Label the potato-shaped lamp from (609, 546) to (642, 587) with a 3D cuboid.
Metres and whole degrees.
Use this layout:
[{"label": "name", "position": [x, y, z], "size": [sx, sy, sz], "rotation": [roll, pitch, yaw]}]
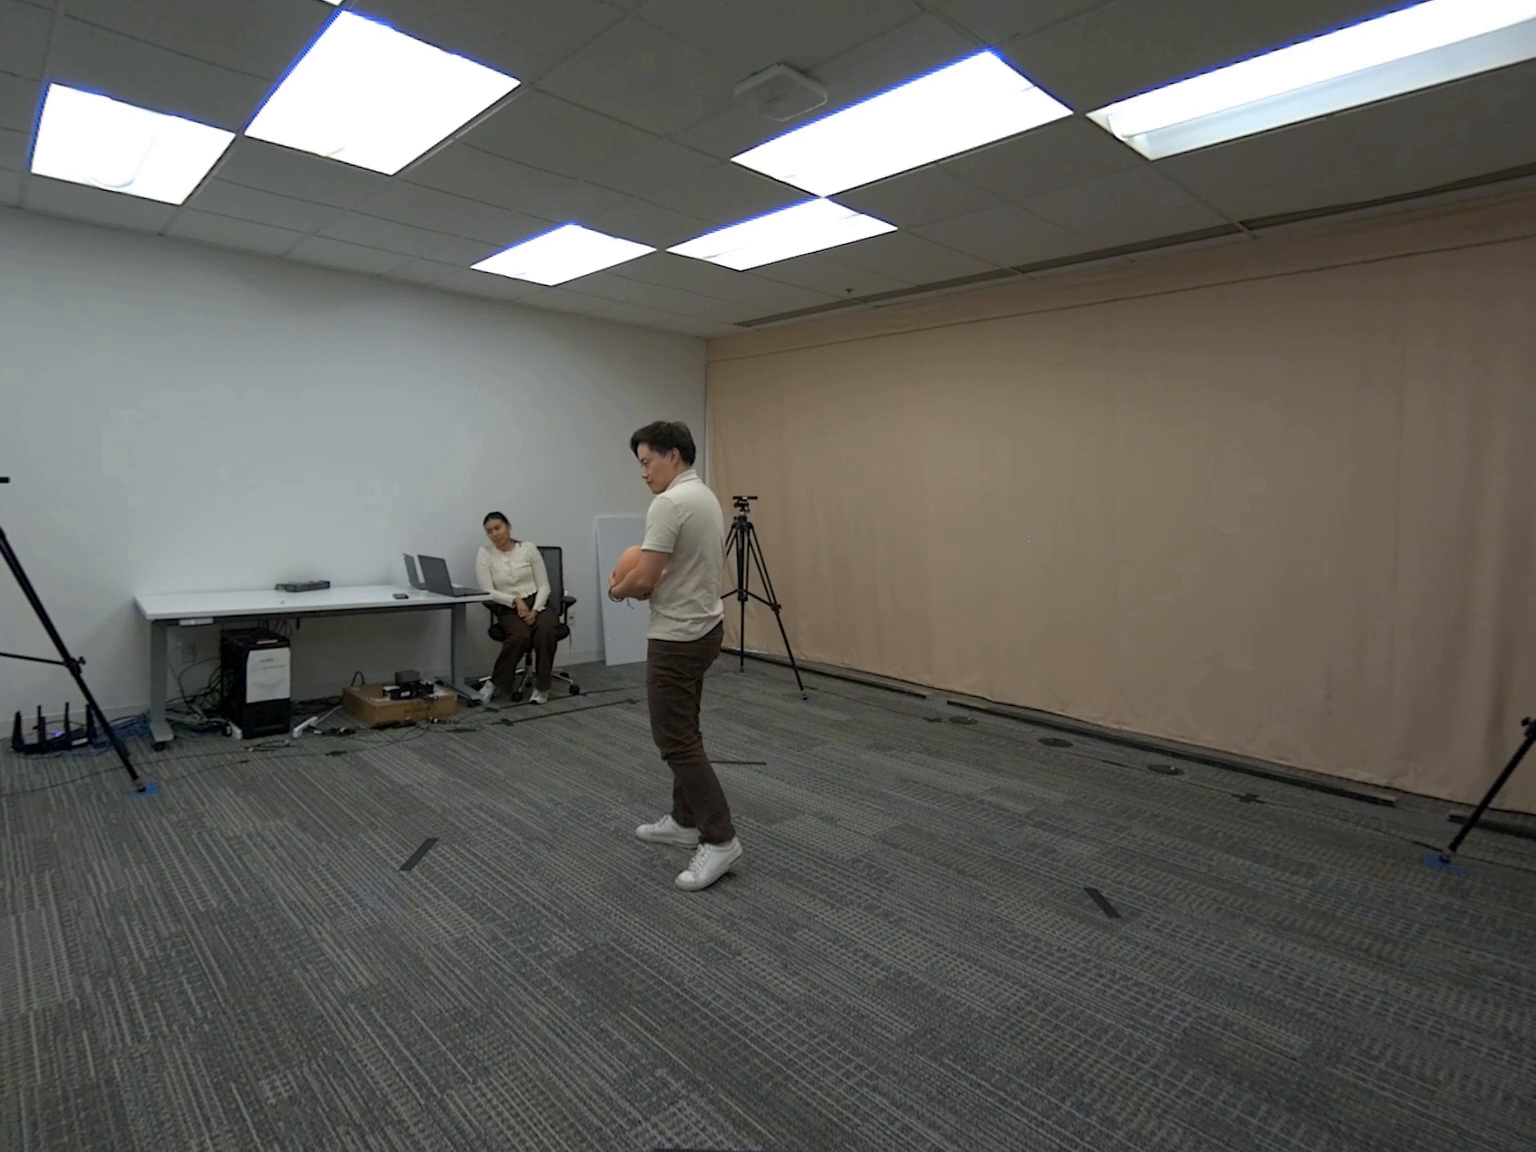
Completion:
[{"label": "potato-shaped lamp", "position": [-0.494, -0.030, 3.216], "size": [0.165, 0.173, 0.196], "rotation": [25, -38, 0]}]
